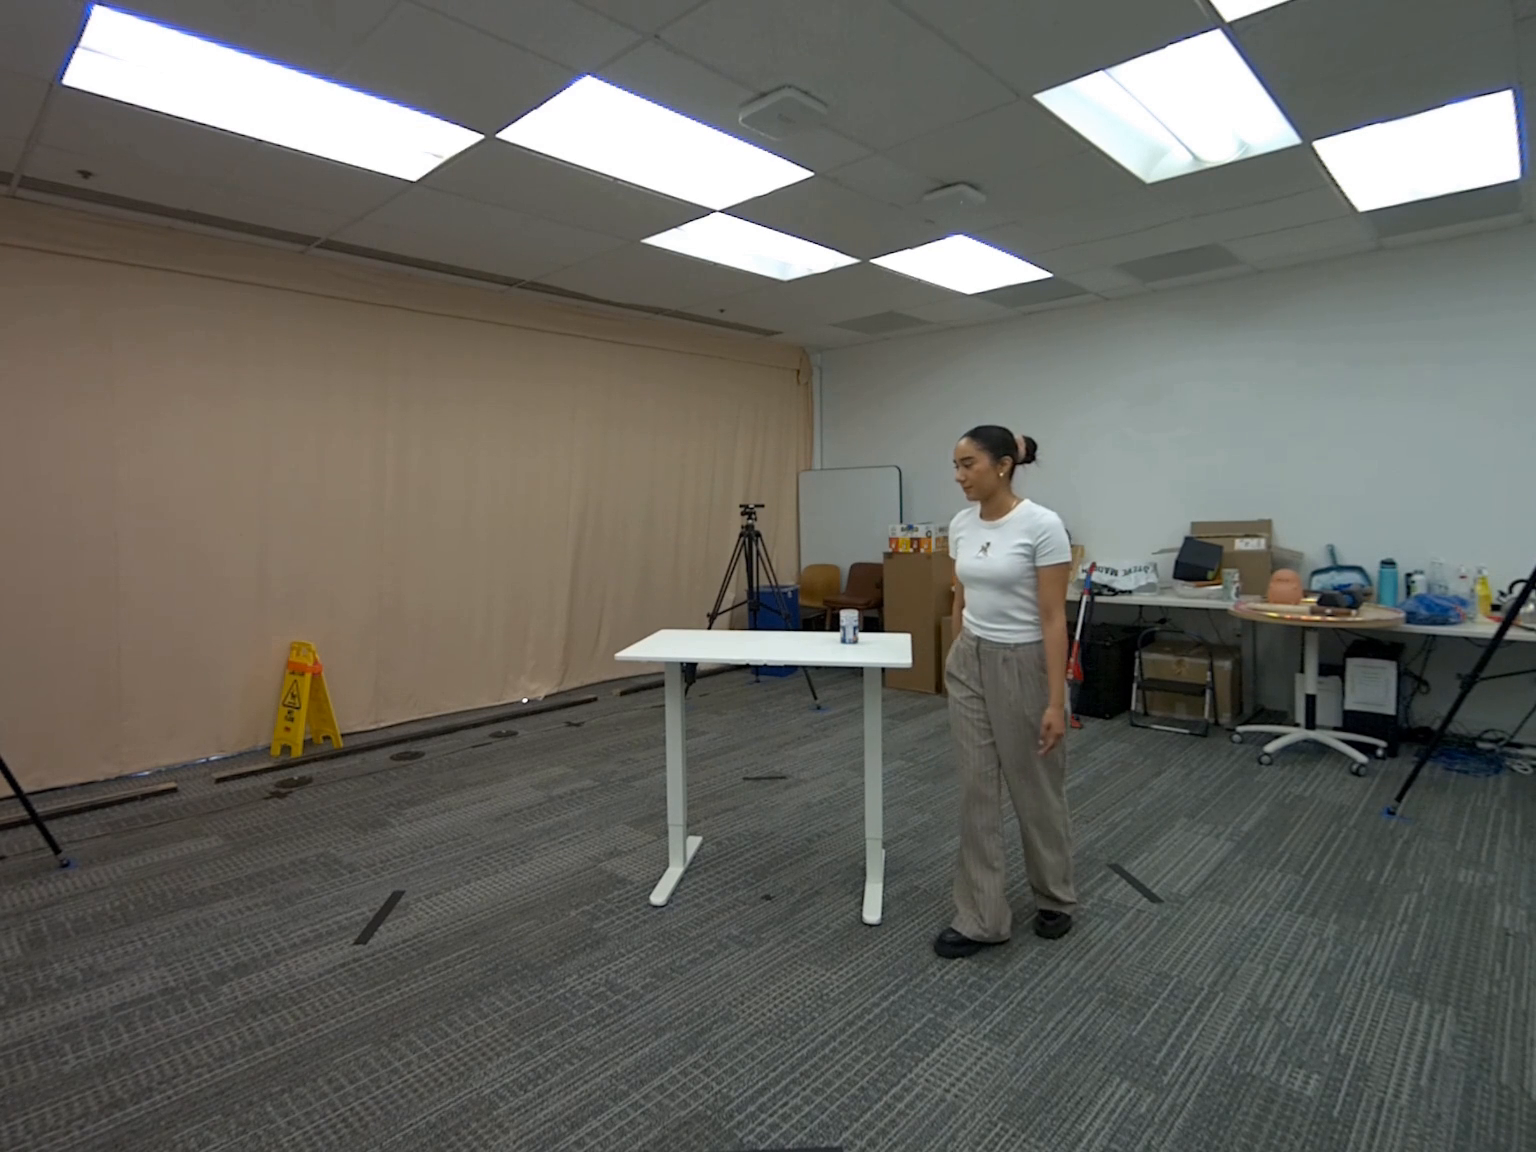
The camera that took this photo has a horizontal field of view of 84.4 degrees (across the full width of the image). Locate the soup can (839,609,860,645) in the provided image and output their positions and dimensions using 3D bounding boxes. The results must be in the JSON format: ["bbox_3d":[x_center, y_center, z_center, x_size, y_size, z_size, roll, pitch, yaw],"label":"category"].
[{"bbox_3d":[0.301,0.189,3.076,0.067,0.121,0.067,-4,3,-2],"label":"soup can"}]
